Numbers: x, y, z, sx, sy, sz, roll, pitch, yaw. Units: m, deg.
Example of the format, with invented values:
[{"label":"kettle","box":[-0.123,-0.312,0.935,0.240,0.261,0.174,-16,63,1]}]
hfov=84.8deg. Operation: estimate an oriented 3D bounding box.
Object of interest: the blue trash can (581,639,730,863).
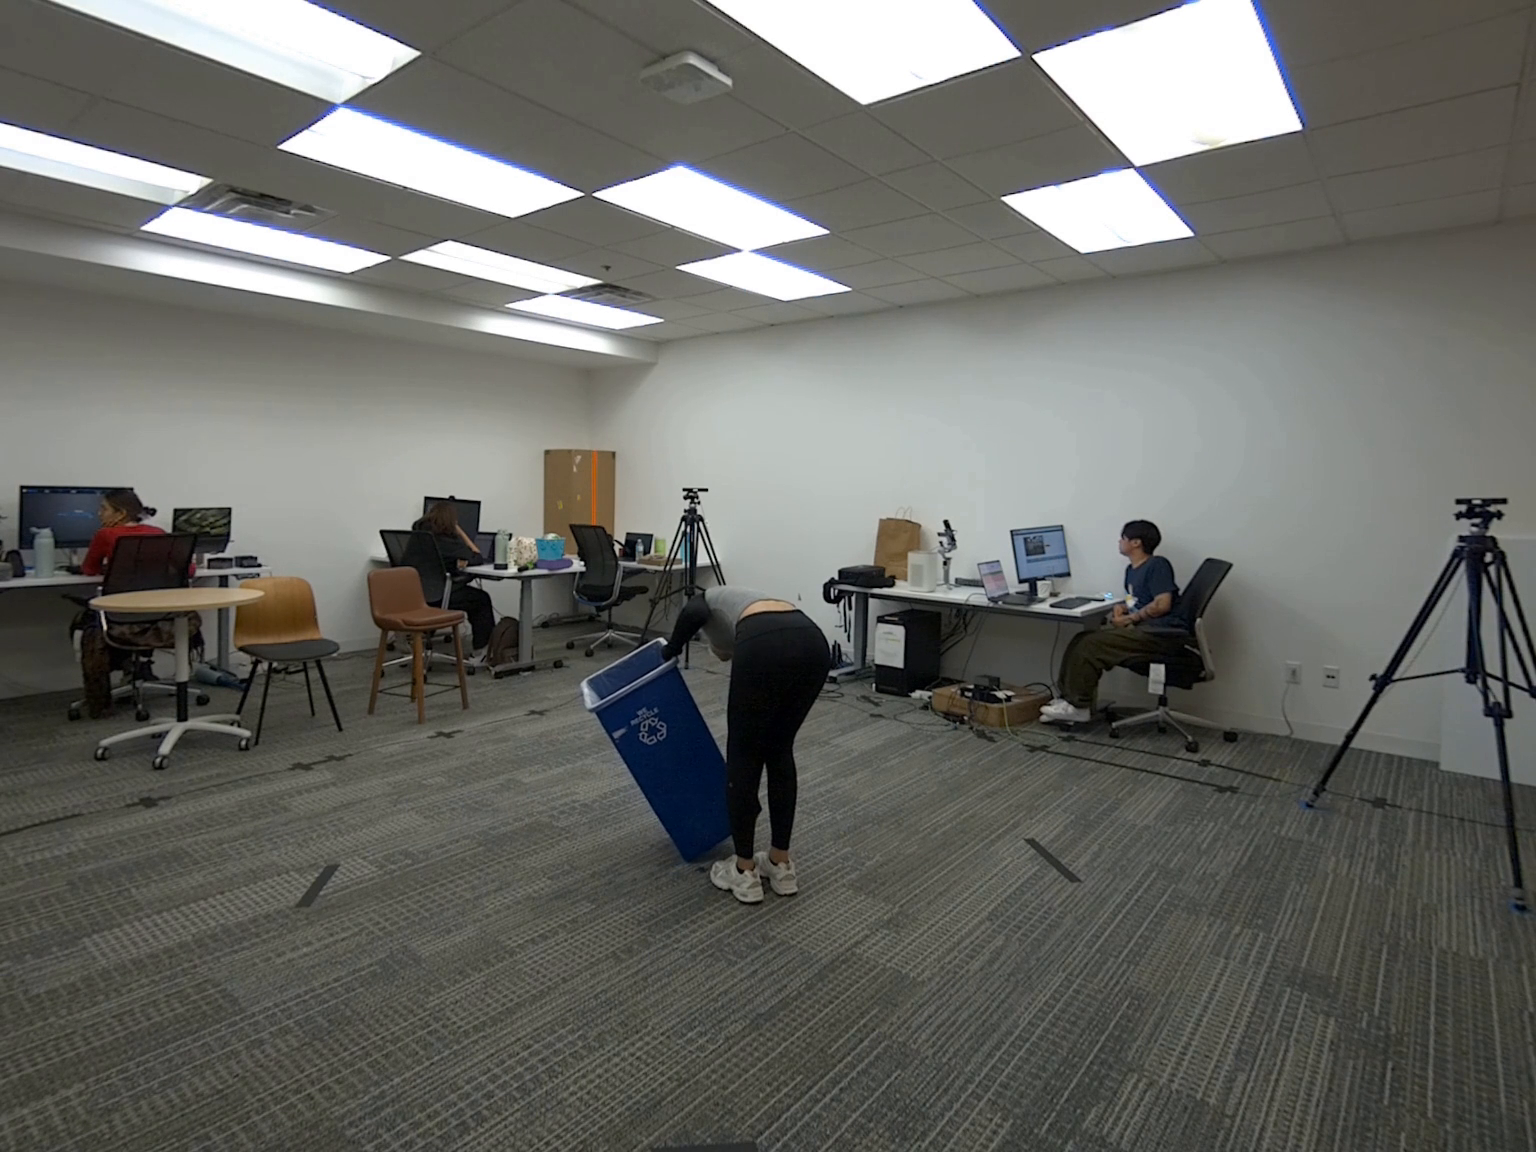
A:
[{"label":"blue trash can","box":[-0.377,0.652,3.247,0.372,0.702,0.386,-30,13,-10]}]
